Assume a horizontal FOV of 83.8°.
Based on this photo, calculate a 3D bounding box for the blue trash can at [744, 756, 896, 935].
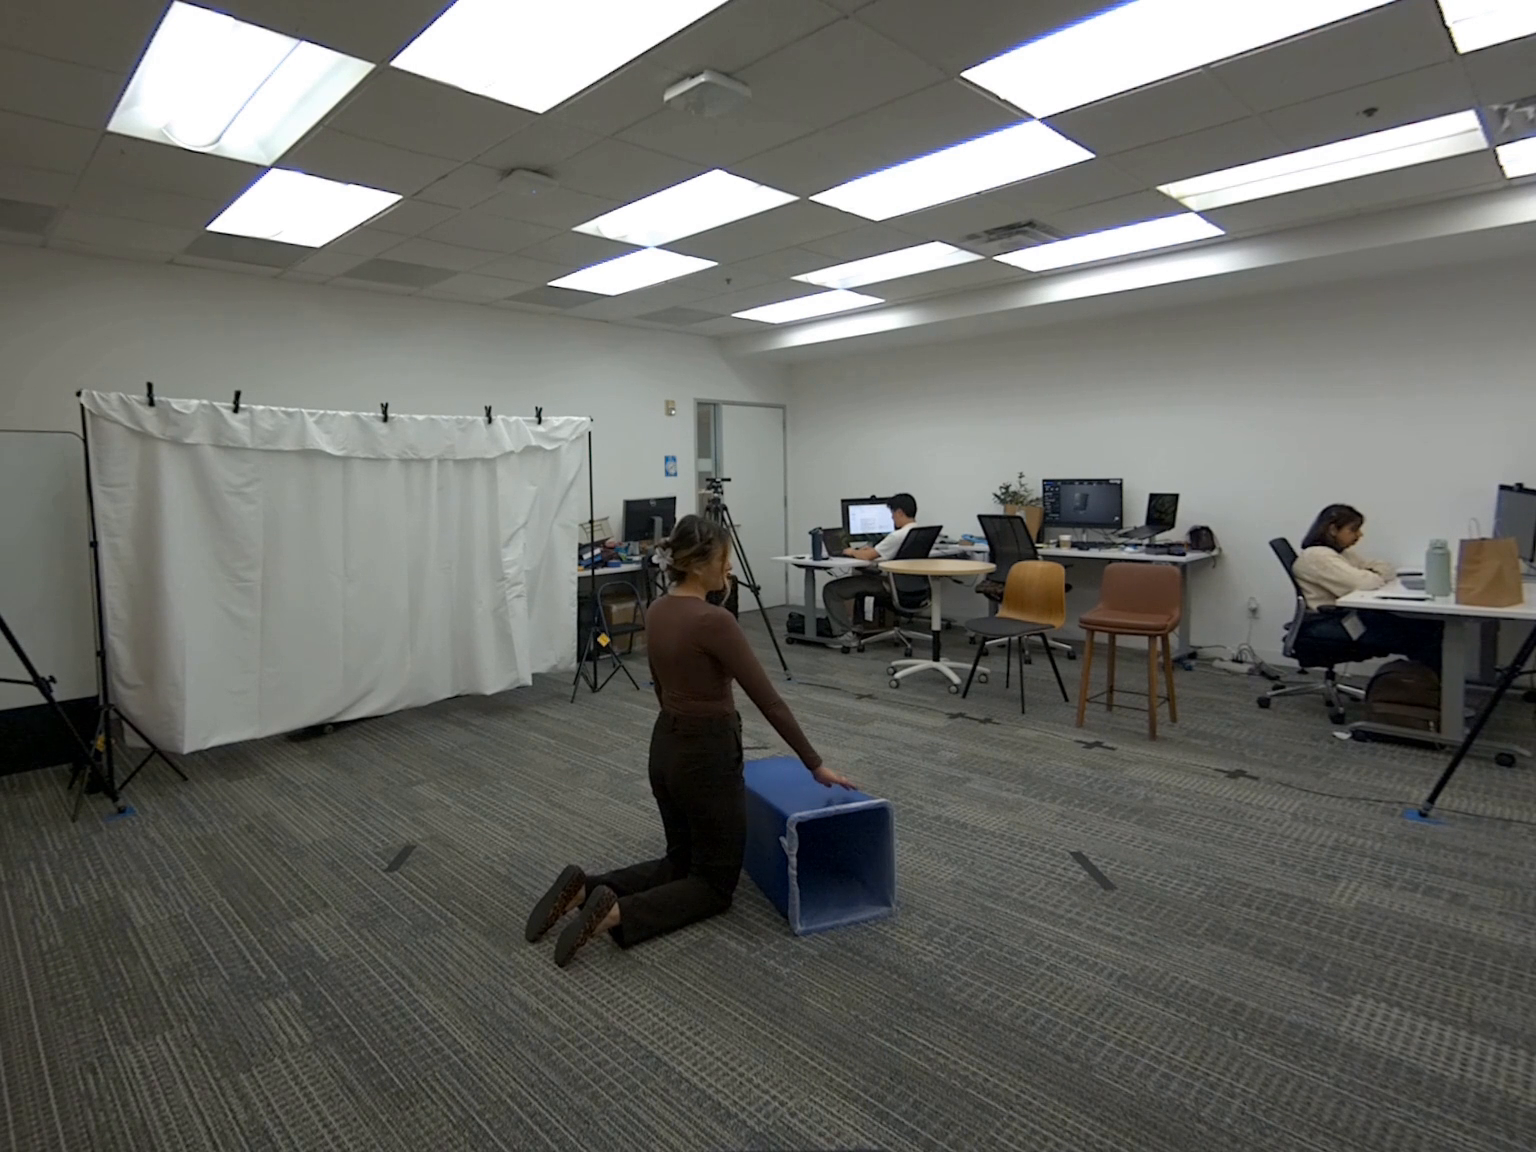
[{"bbox_3d":[0.103,0.876,2.989,0.367,0.377,0.729,-4,5,-21],"label":"blue trash can"}]
